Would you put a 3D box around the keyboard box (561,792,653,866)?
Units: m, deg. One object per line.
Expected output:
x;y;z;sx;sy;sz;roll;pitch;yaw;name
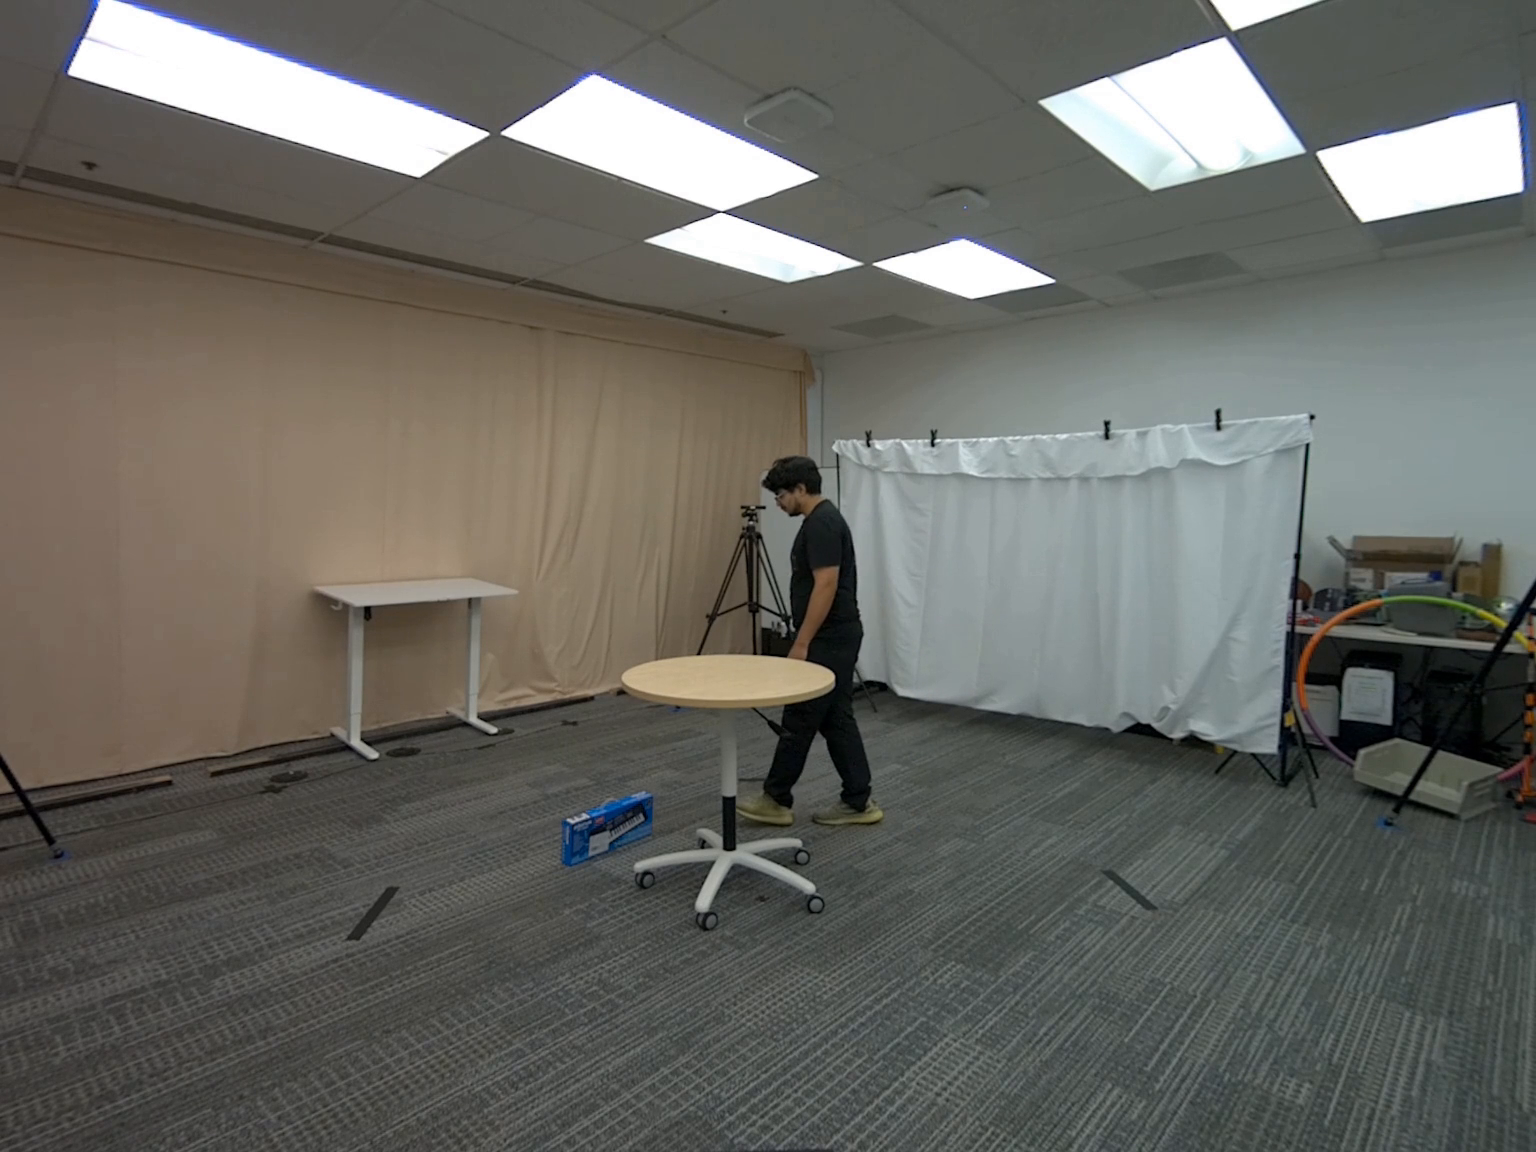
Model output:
-0.651;1.027;3.435;0.061;0.175;0.424;9;10;40;keyboard box
